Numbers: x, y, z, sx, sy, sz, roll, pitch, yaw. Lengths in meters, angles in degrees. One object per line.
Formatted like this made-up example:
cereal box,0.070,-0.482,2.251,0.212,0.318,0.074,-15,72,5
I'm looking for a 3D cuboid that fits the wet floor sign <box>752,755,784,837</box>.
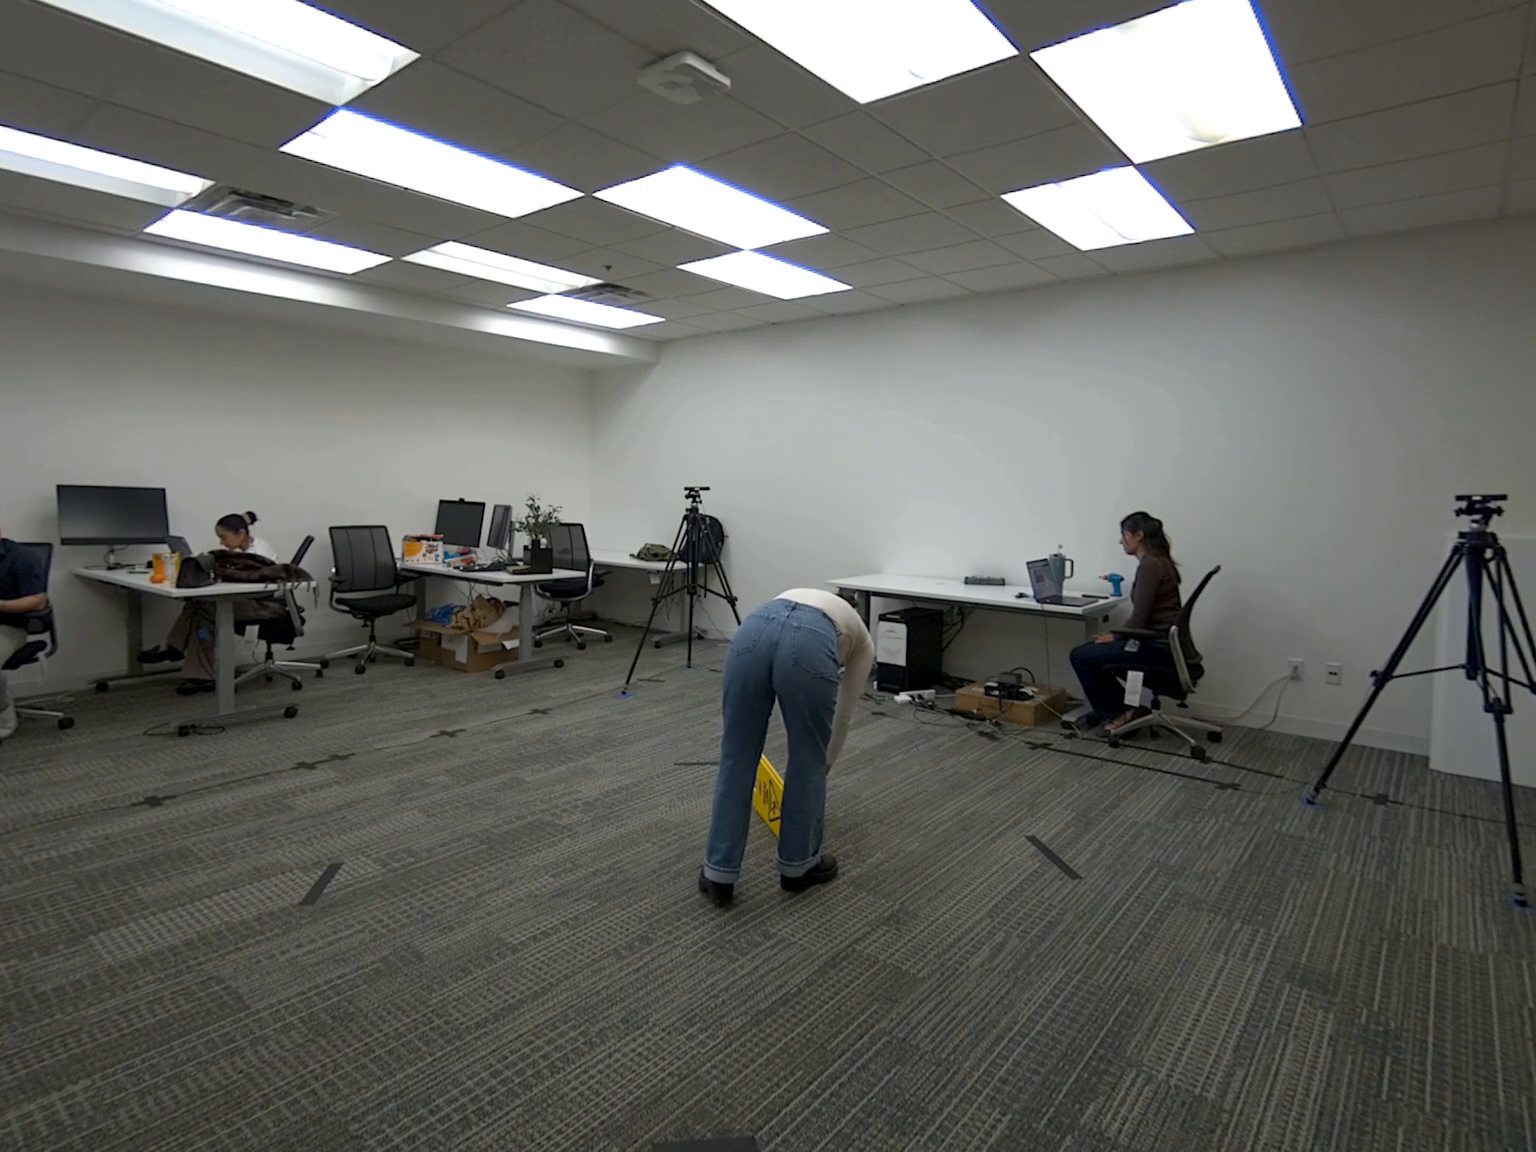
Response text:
wet floor sign,0.098,0.908,3.433,0.288,0.280,0.654,1,9,-6
